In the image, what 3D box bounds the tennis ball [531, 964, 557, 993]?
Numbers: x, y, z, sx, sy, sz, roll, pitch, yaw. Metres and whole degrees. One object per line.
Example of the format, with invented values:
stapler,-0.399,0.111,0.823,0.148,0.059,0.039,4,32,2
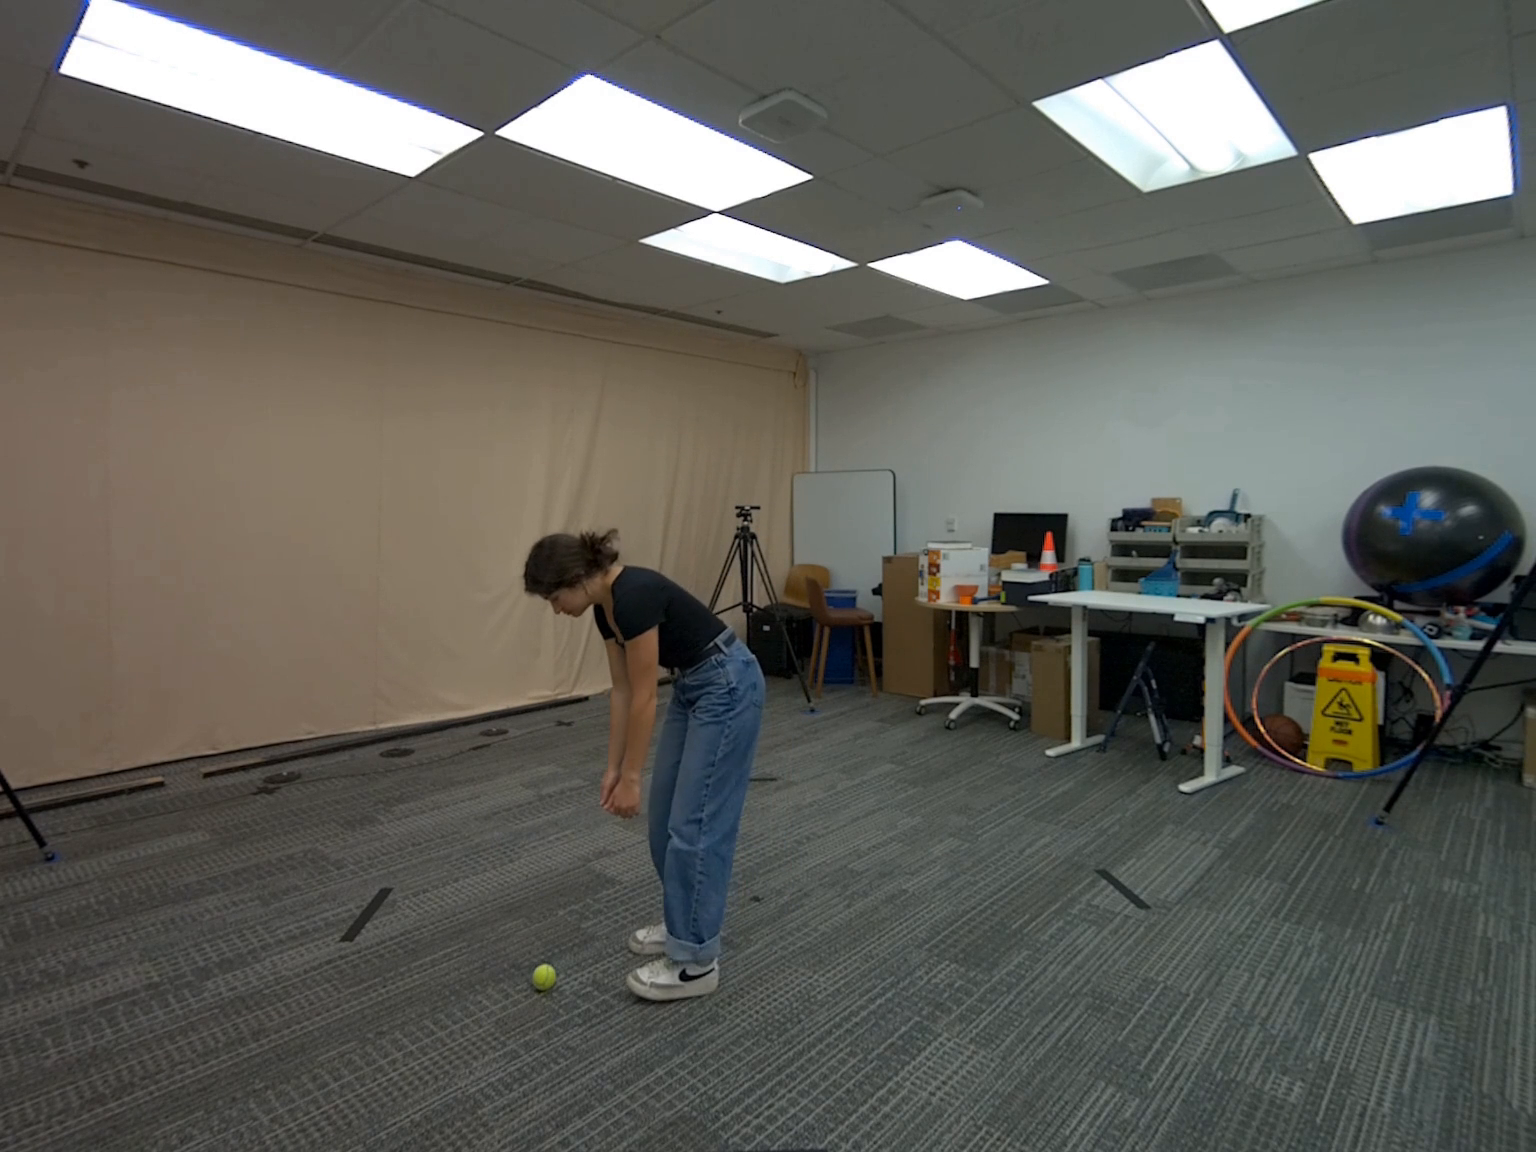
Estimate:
tennis ball,-0.634,1.160,2.423,0.066,0.066,0.067,0,4,-2
